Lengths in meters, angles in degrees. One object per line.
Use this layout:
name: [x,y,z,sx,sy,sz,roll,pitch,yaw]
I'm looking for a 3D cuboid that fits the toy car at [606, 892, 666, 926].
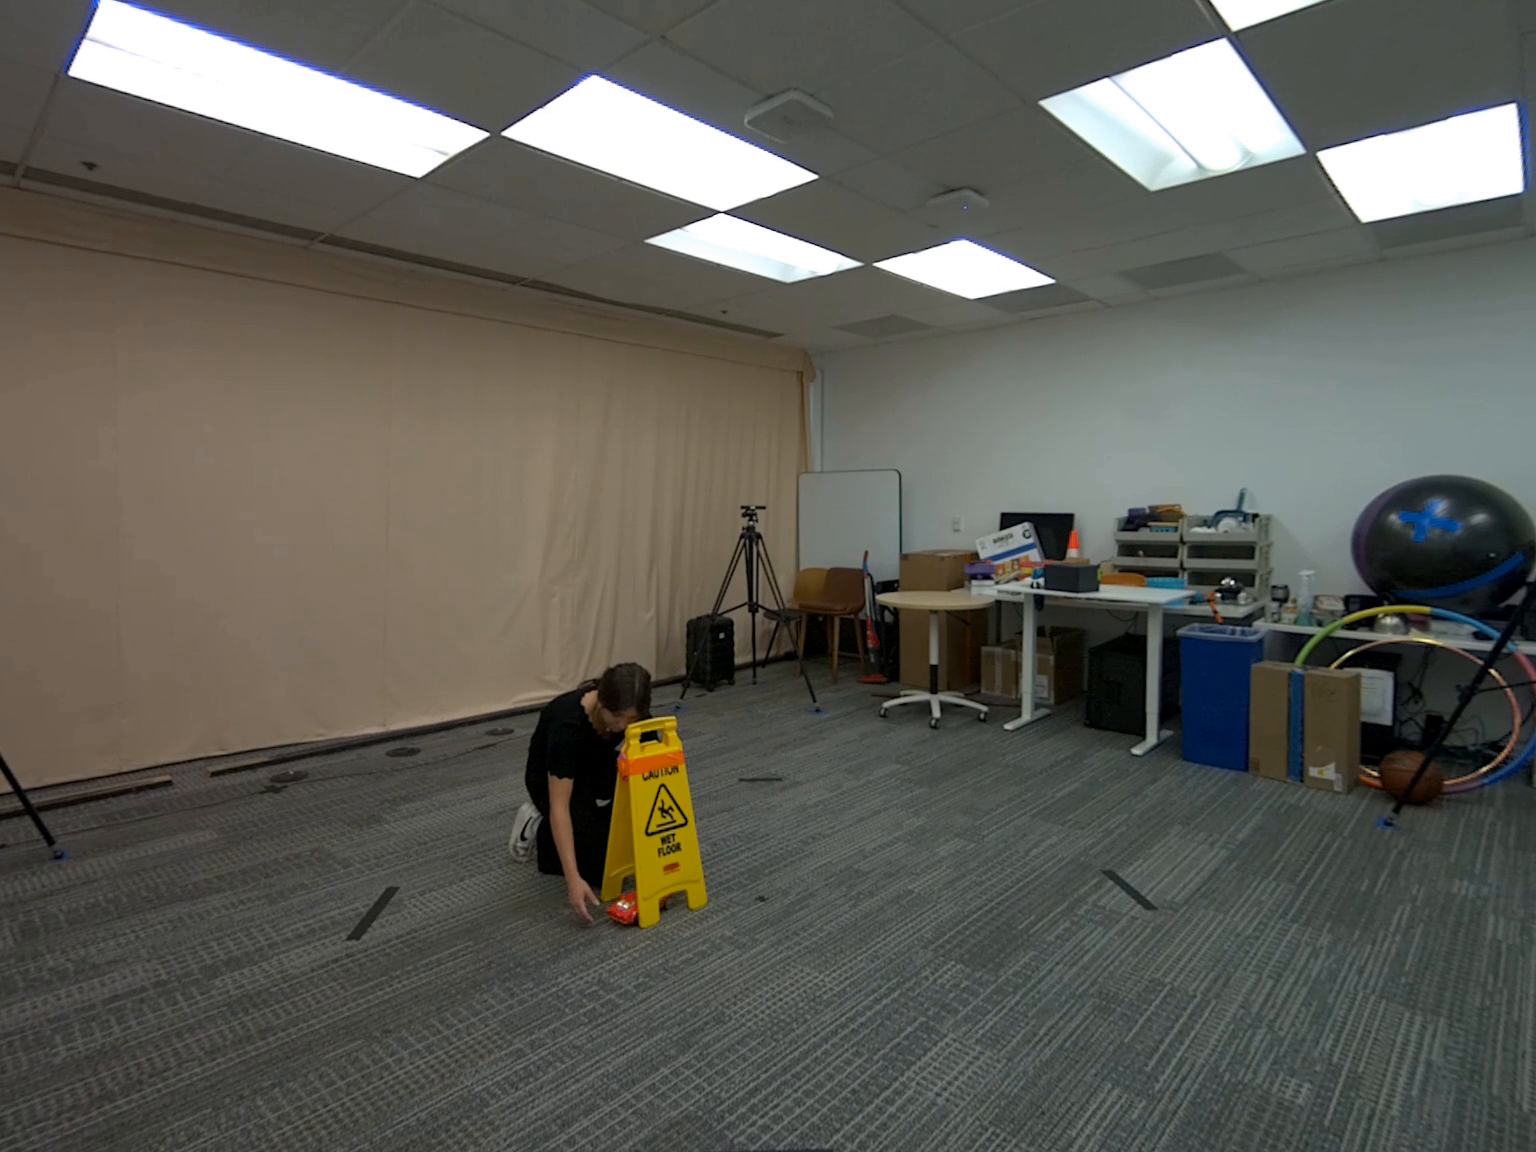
toy car: [-0.449,1.128,2.891,0.134,0.083,0.246,7,-6,34]
